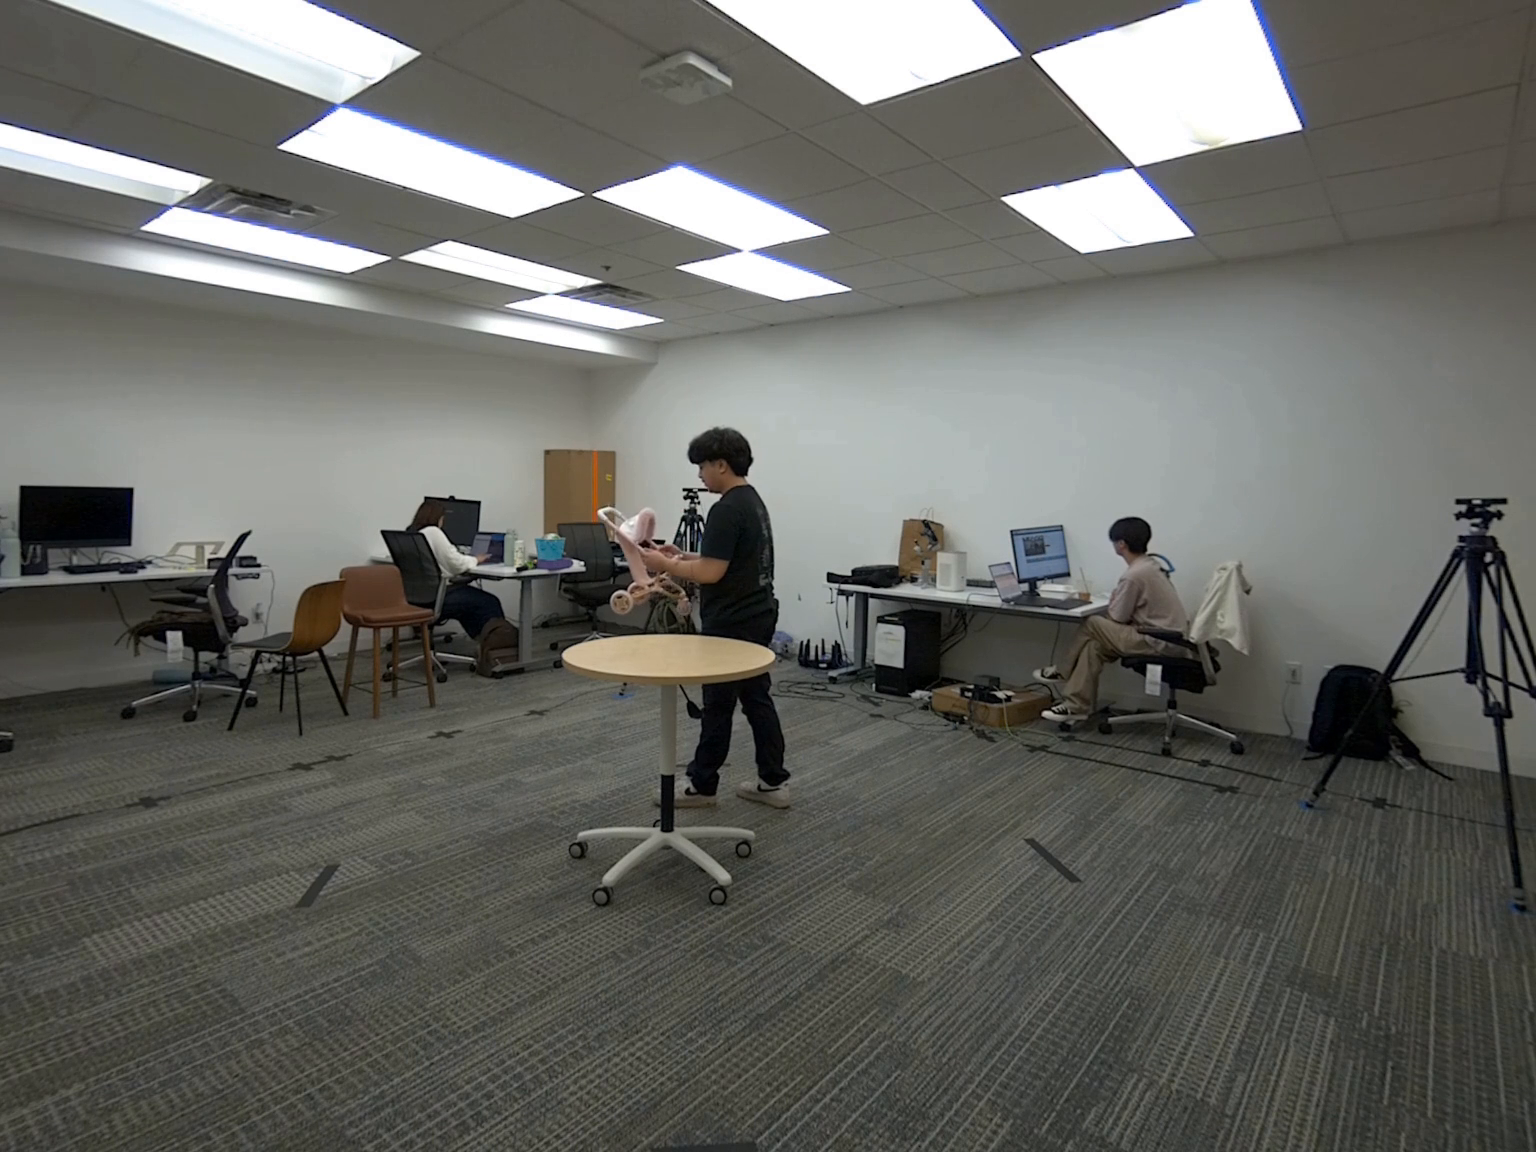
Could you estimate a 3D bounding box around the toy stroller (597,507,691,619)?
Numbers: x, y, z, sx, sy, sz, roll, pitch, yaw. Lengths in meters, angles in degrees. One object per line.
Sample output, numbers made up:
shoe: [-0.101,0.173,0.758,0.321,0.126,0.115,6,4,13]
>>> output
toy stroller: [-0.558,-0.069,3.825,0.346,0.533,0.278,-8,4,16]
